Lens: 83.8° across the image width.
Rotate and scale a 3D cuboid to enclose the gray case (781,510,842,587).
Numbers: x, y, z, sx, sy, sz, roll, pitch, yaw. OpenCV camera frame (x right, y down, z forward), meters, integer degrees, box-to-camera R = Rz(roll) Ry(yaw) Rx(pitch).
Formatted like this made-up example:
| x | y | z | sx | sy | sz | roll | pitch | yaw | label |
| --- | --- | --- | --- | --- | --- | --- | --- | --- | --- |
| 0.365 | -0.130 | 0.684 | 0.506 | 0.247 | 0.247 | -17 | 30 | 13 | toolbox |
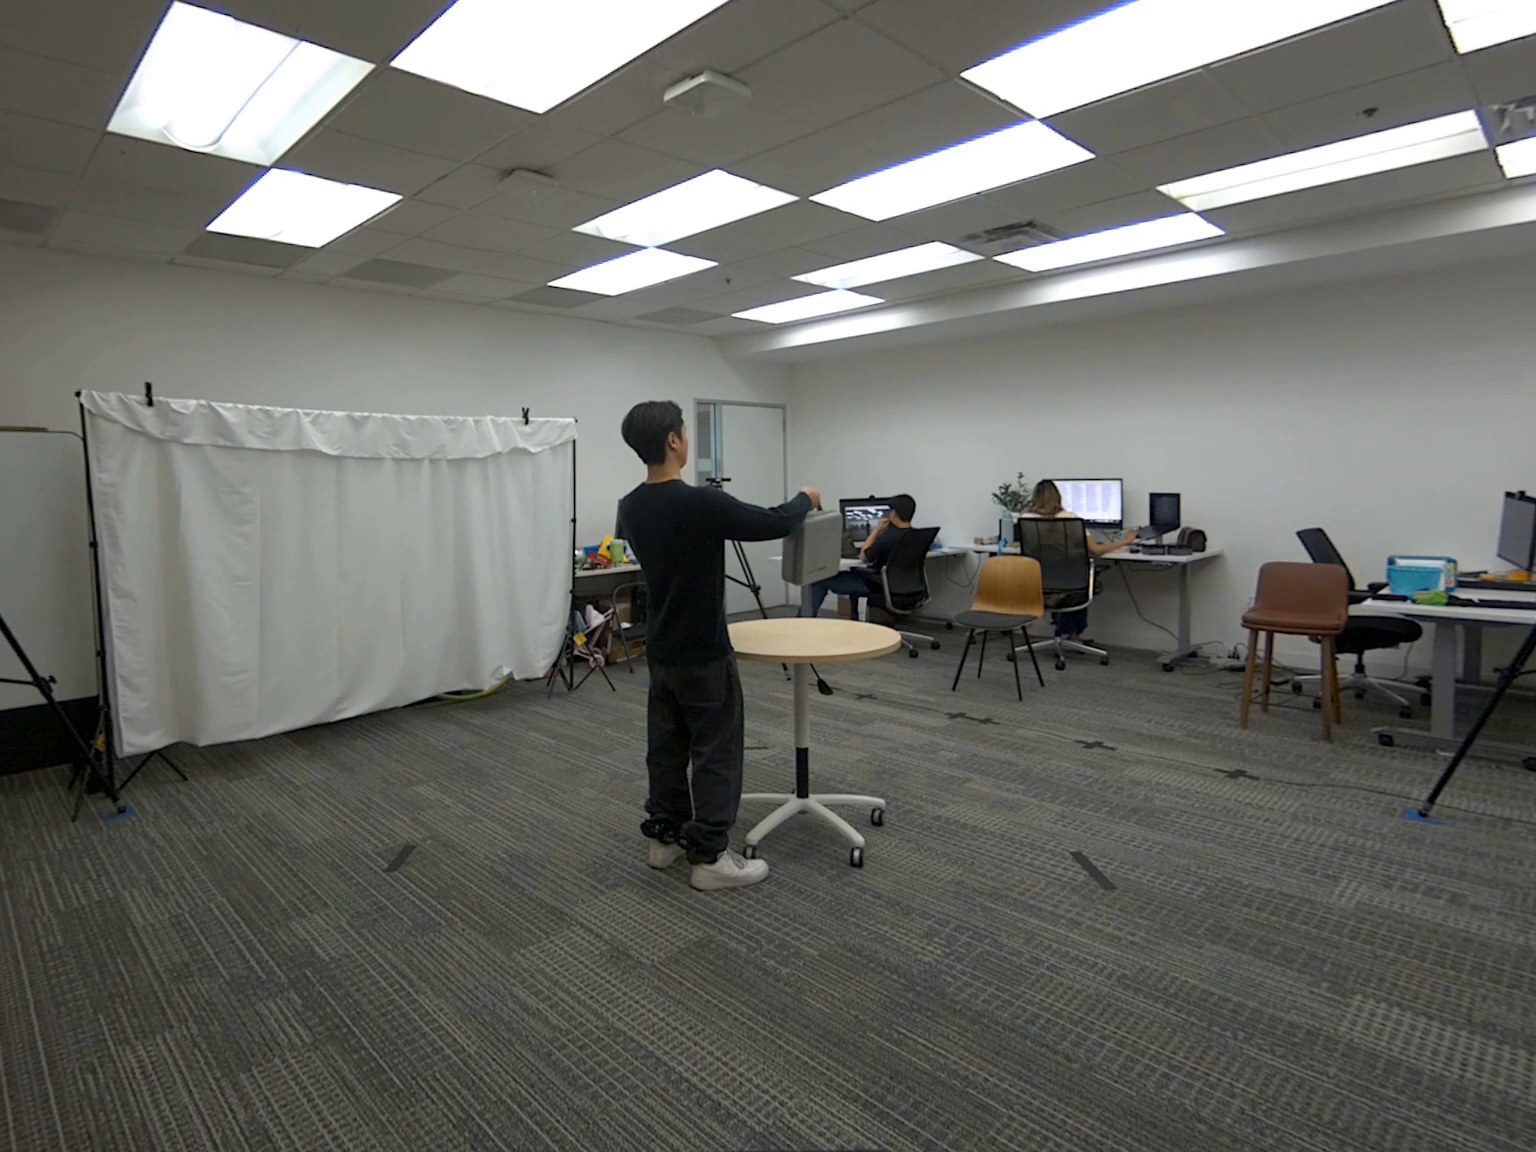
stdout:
| x | y | z | sx | sy | sz | roll | pitch | yaw | label |
| --- | --- | --- | --- | --- | --- | --- | --- | --- | --- |
| 0.164 | -0.112 | 3.174 | 0.108 | 0.257 | 0.251 | 14 | 18 | 40 | gray case |
